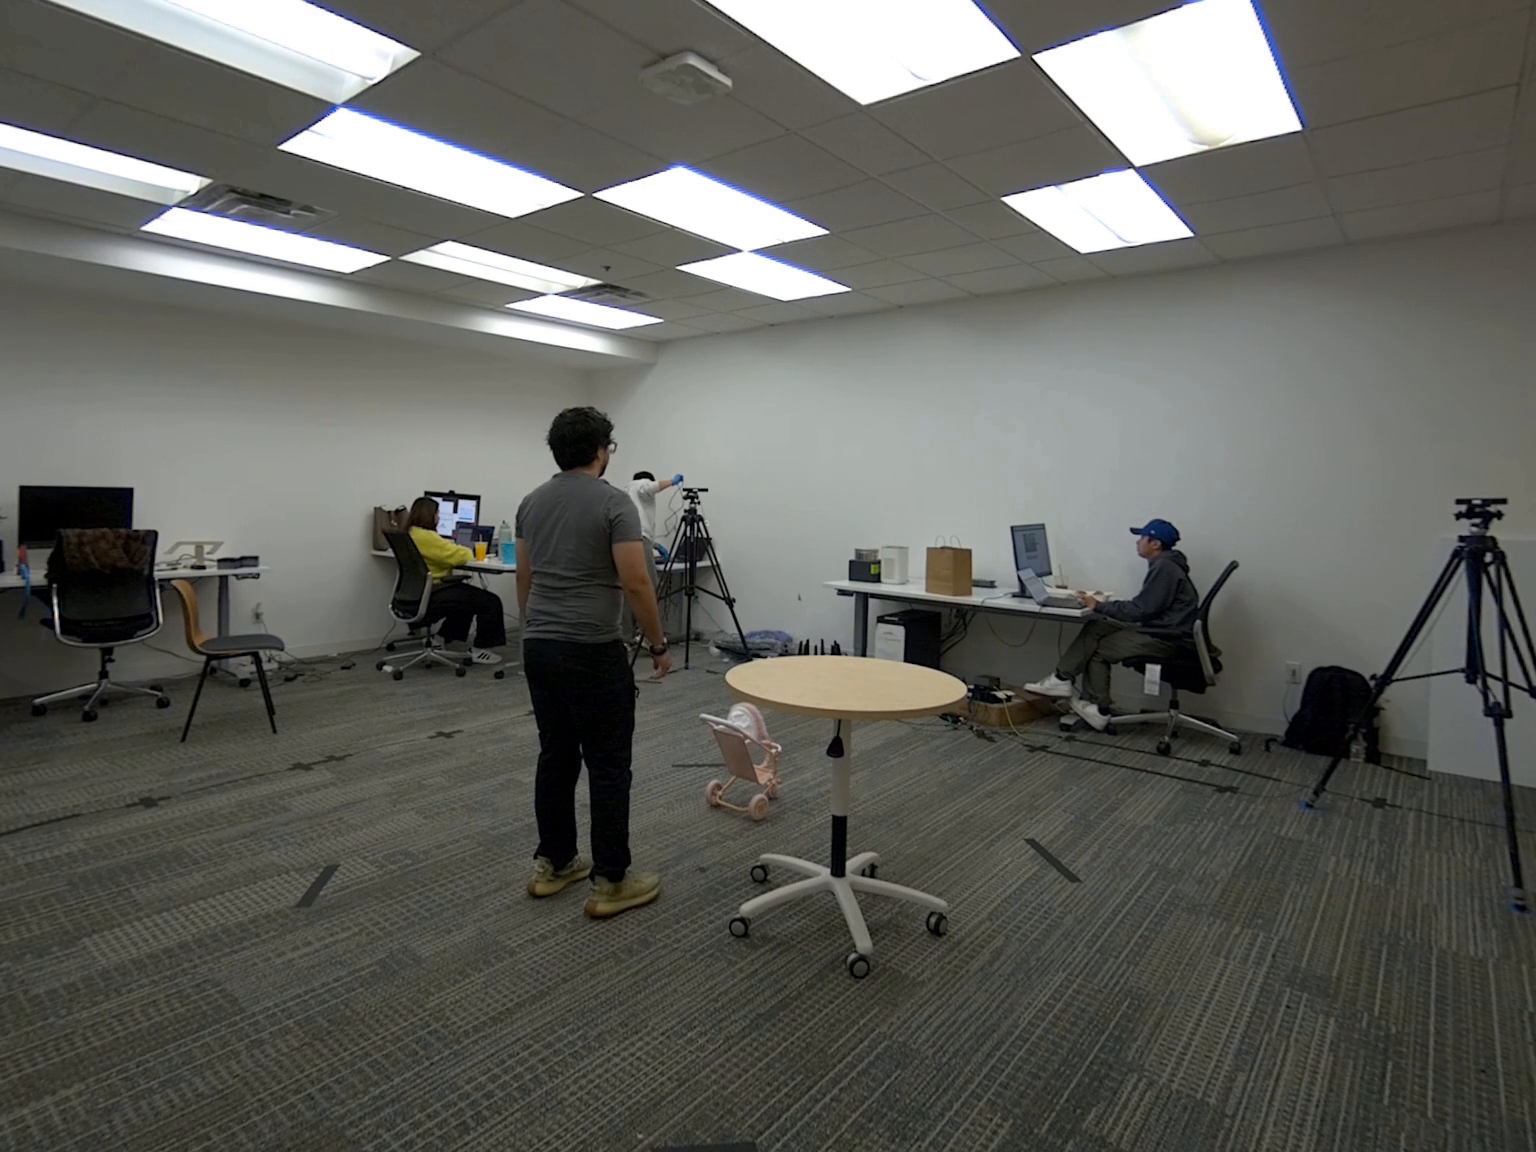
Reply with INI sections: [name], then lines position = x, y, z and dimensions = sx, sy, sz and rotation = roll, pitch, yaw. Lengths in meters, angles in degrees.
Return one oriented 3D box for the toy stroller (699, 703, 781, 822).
[toy stroller]
position = -0.103, 0.786, 3.706
dimensions = 0.291, 0.527, 0.335
rotation = 4, 19, 44
